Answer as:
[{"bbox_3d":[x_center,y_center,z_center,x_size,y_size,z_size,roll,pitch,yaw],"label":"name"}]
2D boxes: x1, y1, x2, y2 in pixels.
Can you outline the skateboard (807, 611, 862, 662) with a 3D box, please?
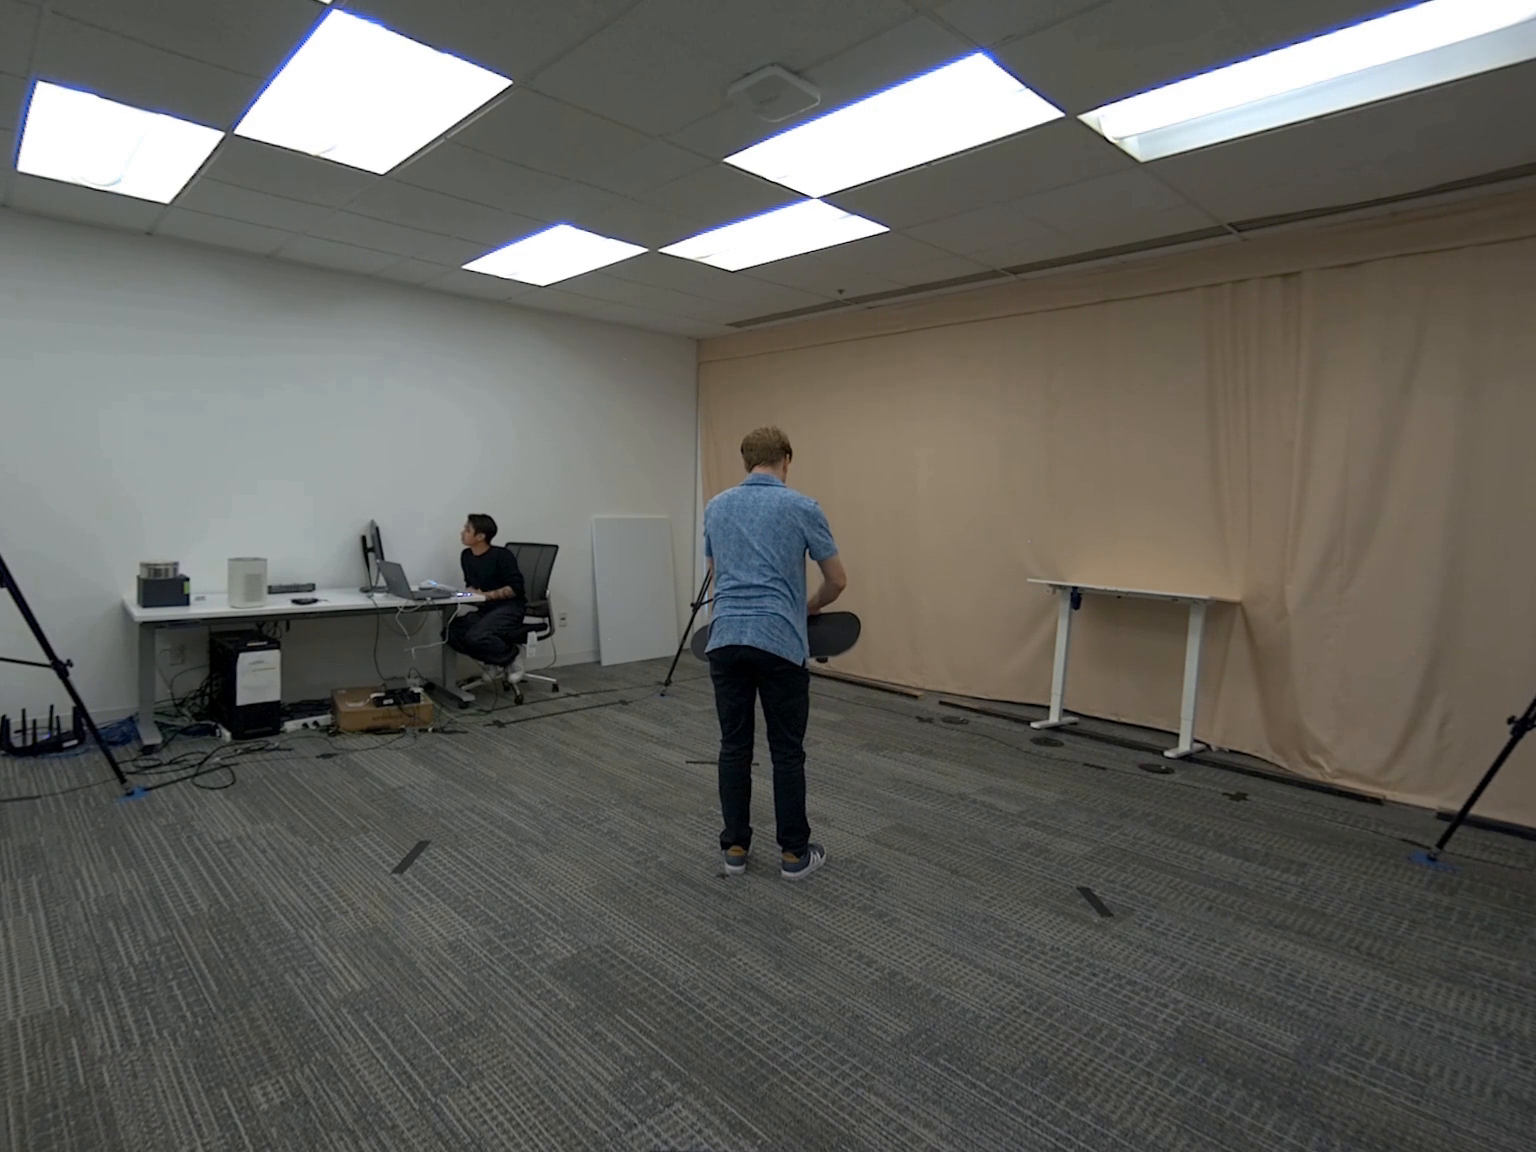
[{"bbox_3d":[0.027,0.275,3.496,0.799,0.196,0.107,-6,-29,28],"label":"skateboard"}]
